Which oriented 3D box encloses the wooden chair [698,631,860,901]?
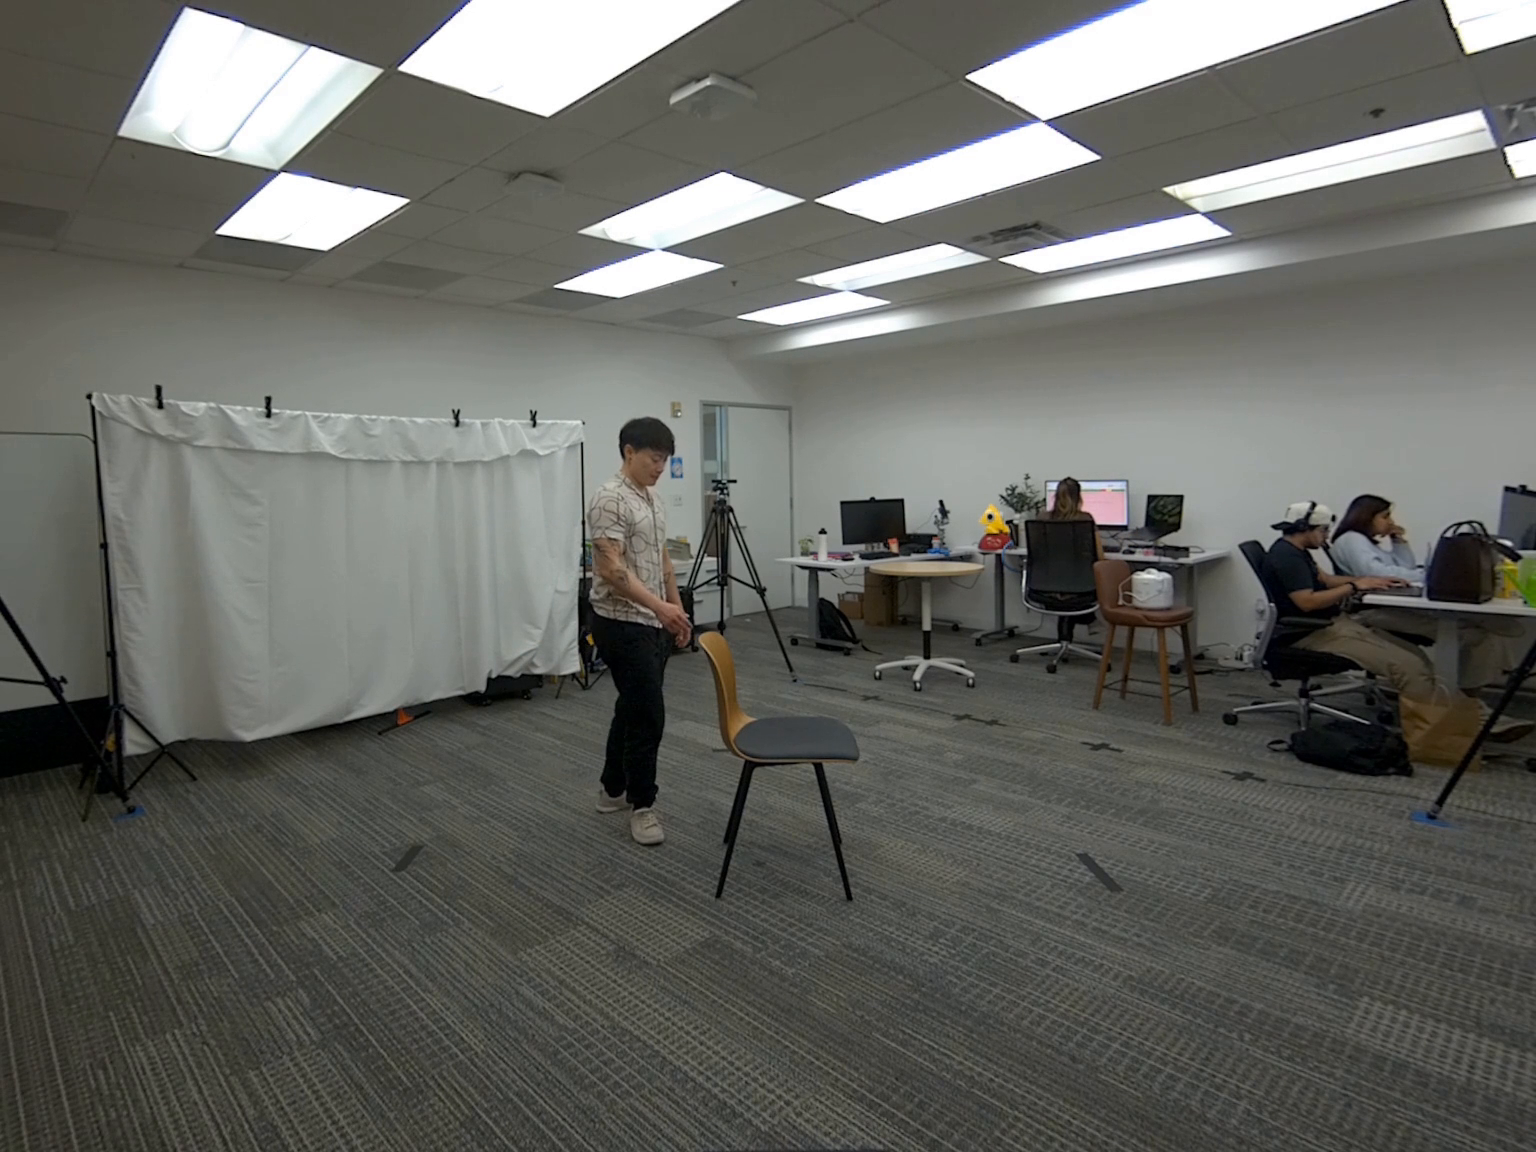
[{"bbox_3d":[0.057,0.627,3.033,0.524,0.875,0.479,-5,3,2],"label":"wooden chair"}]
